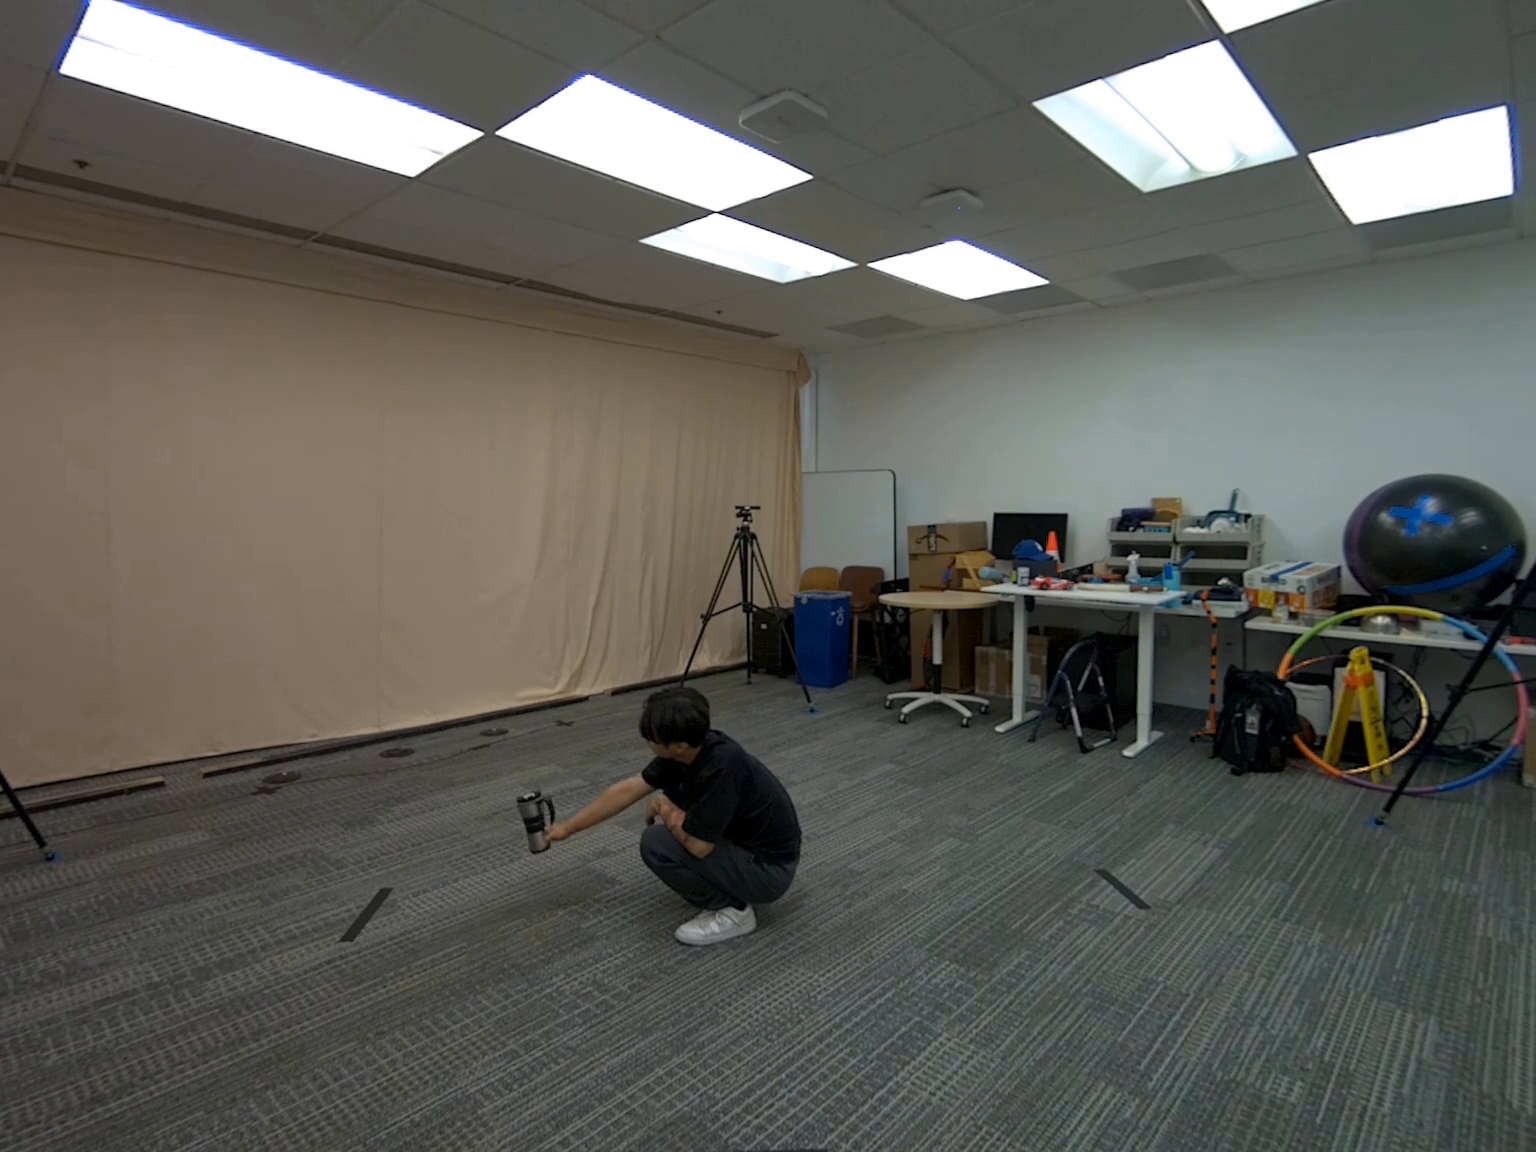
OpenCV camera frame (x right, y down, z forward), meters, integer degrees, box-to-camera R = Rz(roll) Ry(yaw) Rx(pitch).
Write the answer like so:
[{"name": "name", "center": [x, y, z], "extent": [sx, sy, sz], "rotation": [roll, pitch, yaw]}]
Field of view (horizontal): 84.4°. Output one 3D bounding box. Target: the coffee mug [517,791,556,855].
[{"name": "coffee mug", "center": [-0.799, 0.858, 2.926], "extent": [0.125, 0.203, 0.085], "rotation": [-11, -1, 38]}]
